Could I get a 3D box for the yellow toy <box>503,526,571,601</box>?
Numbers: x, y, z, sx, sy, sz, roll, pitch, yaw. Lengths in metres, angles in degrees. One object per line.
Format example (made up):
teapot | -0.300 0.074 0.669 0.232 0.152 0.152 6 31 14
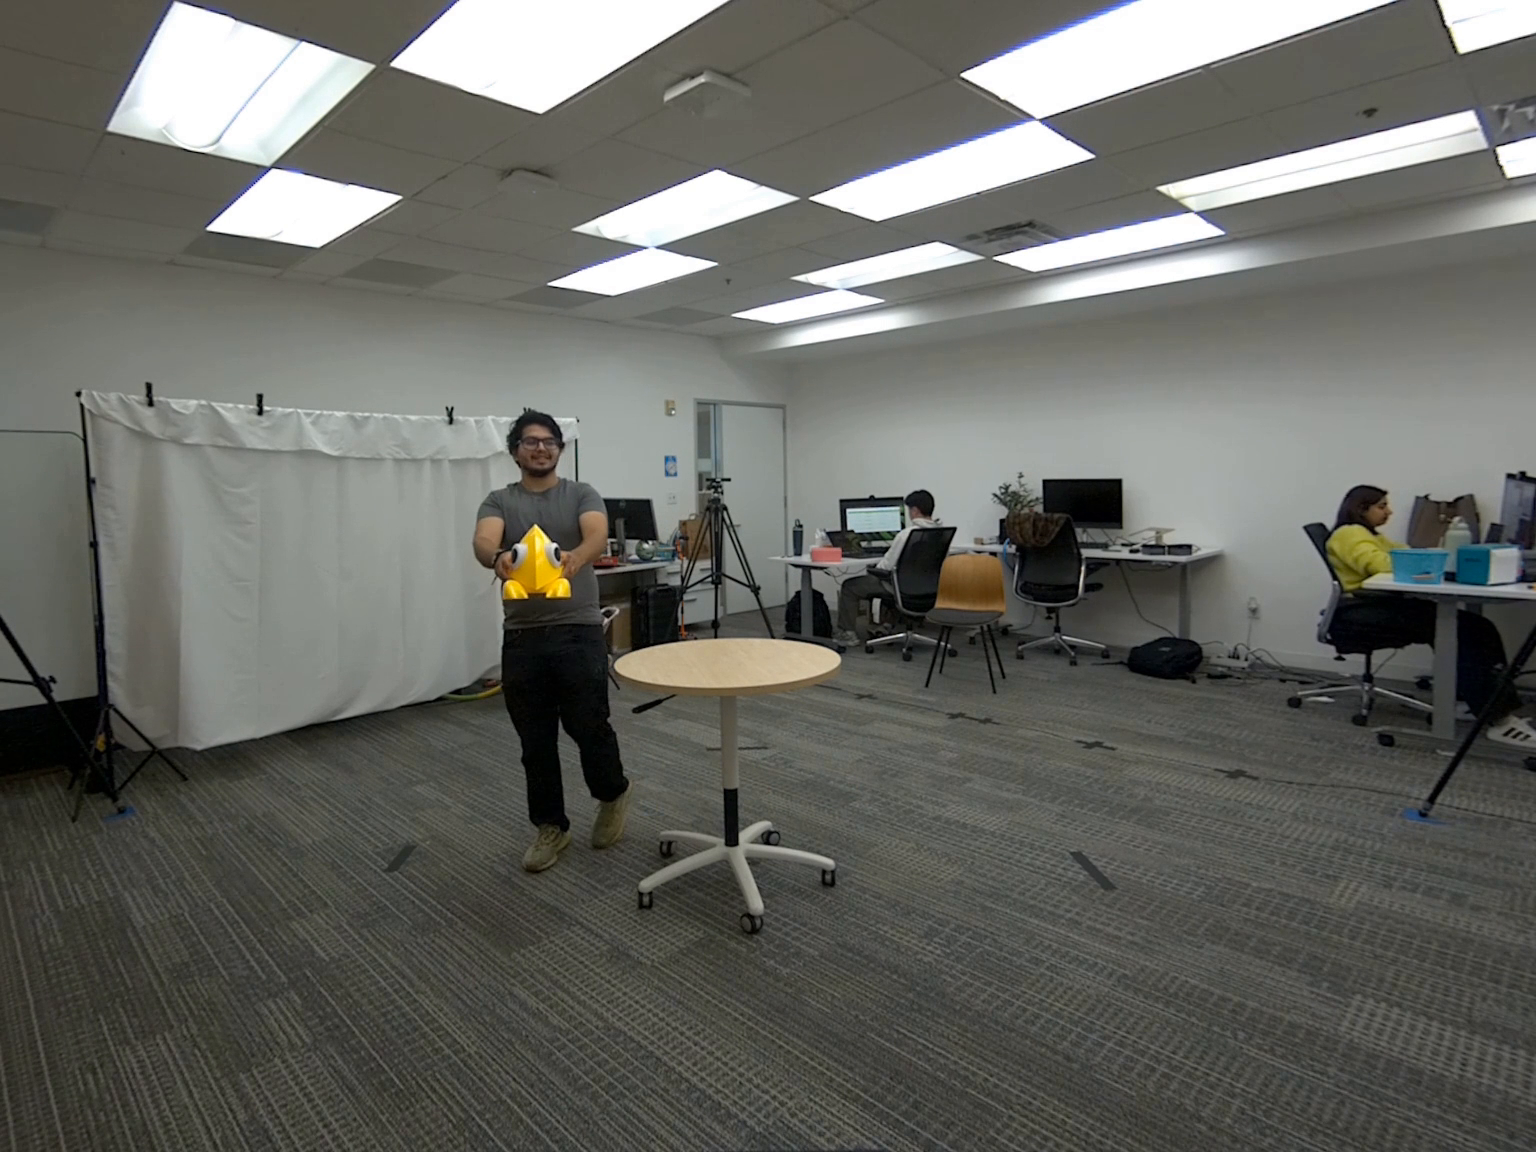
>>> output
yellow toy | -0.702 -0.046 2.589 0.202 0.231 0.195 -1 -3 -14
